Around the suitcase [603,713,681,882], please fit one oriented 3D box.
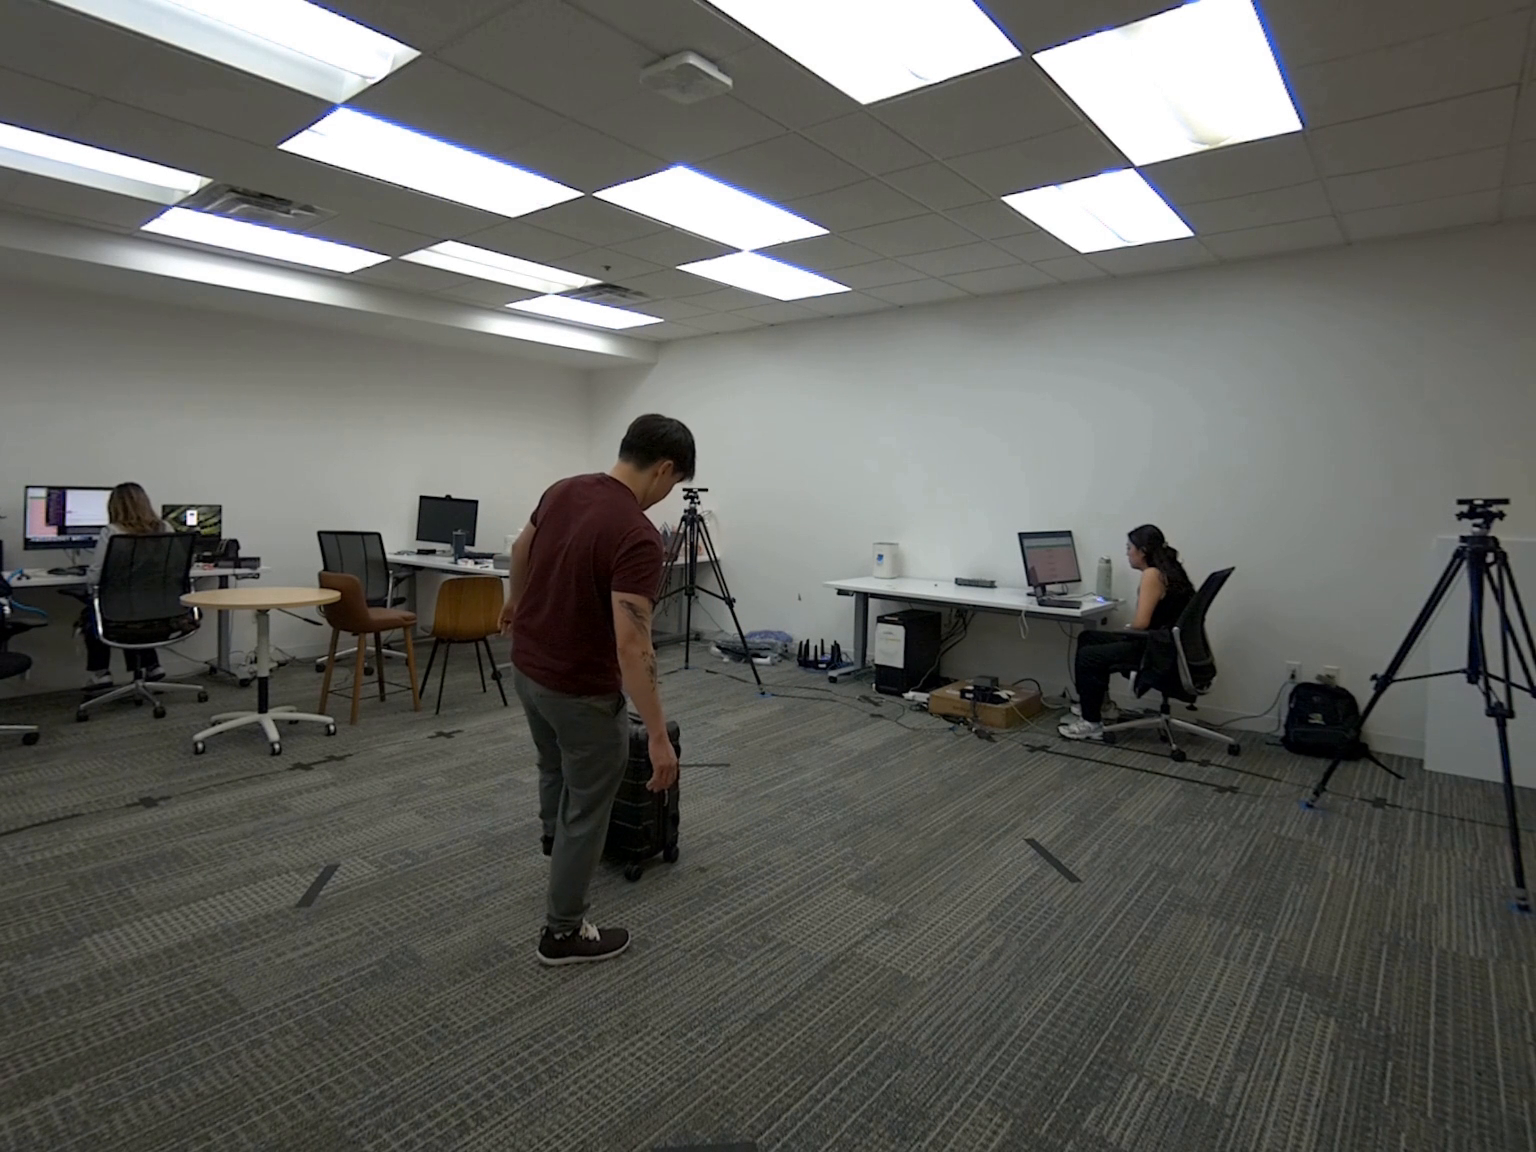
[{"bbox_3d":[-0.530,0.578,3.198,0.396,0.979,0.249,2,-1,34],"label":"suitcase"}]
